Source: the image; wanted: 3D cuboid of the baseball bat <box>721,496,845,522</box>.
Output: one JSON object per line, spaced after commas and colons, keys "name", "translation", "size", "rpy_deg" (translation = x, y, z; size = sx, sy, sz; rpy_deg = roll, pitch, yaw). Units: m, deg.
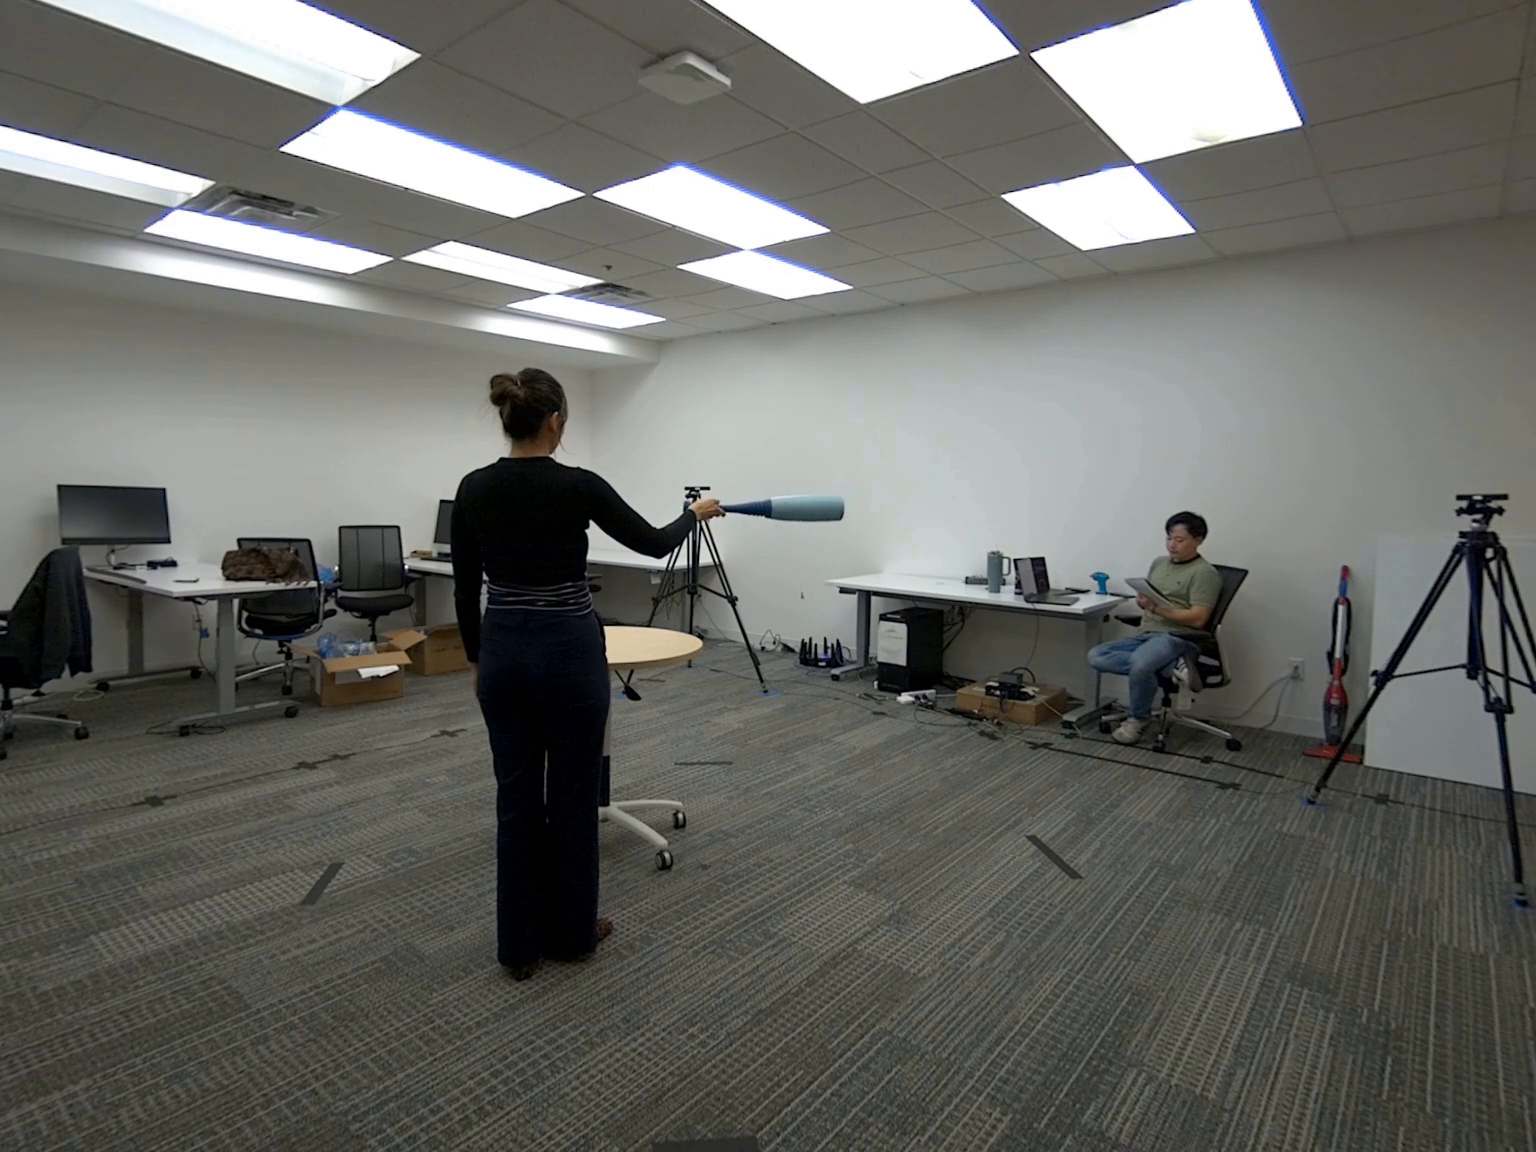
{"name": "baseball bat", "translation": [-0.033, -0.232, 2.847], "size": [0.538, 0.089, 0.090], "rpy_deg": [-1, 4, -8]}
